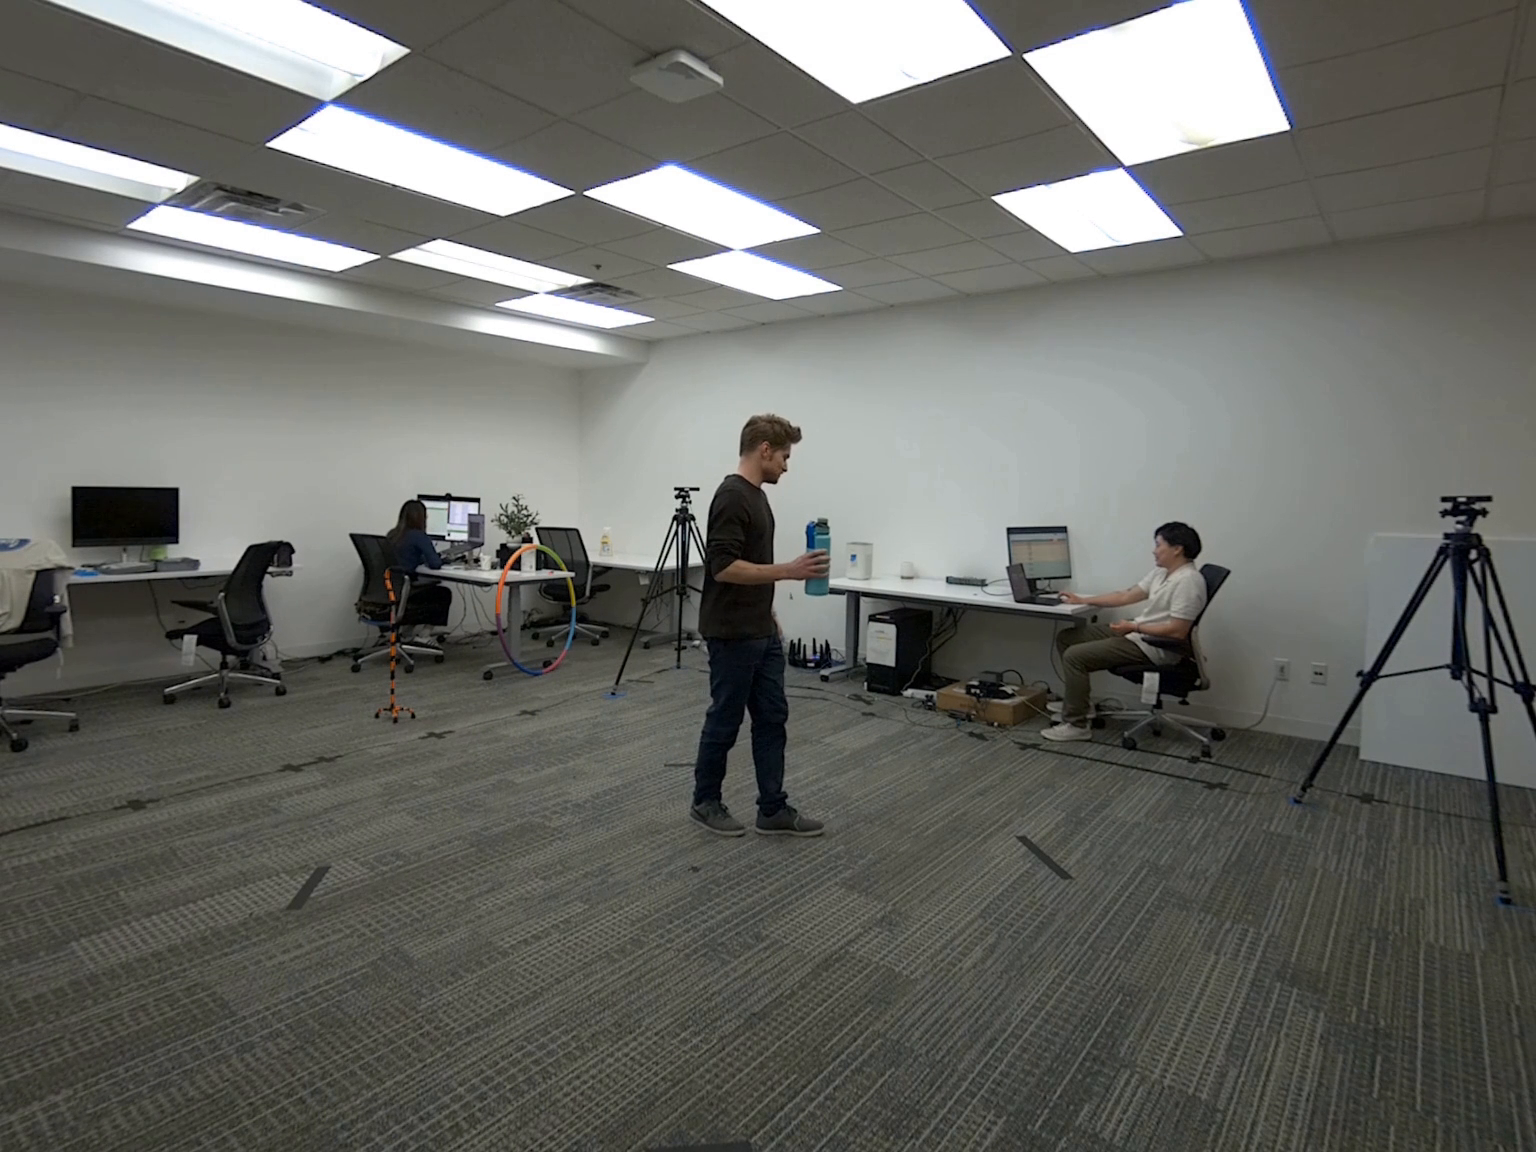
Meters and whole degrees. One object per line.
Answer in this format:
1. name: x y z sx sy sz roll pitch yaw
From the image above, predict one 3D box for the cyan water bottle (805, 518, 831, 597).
1. cyan water bottle: 0.177 -0.076 3.151 0.092 0.281 0.093 0 9 -2
